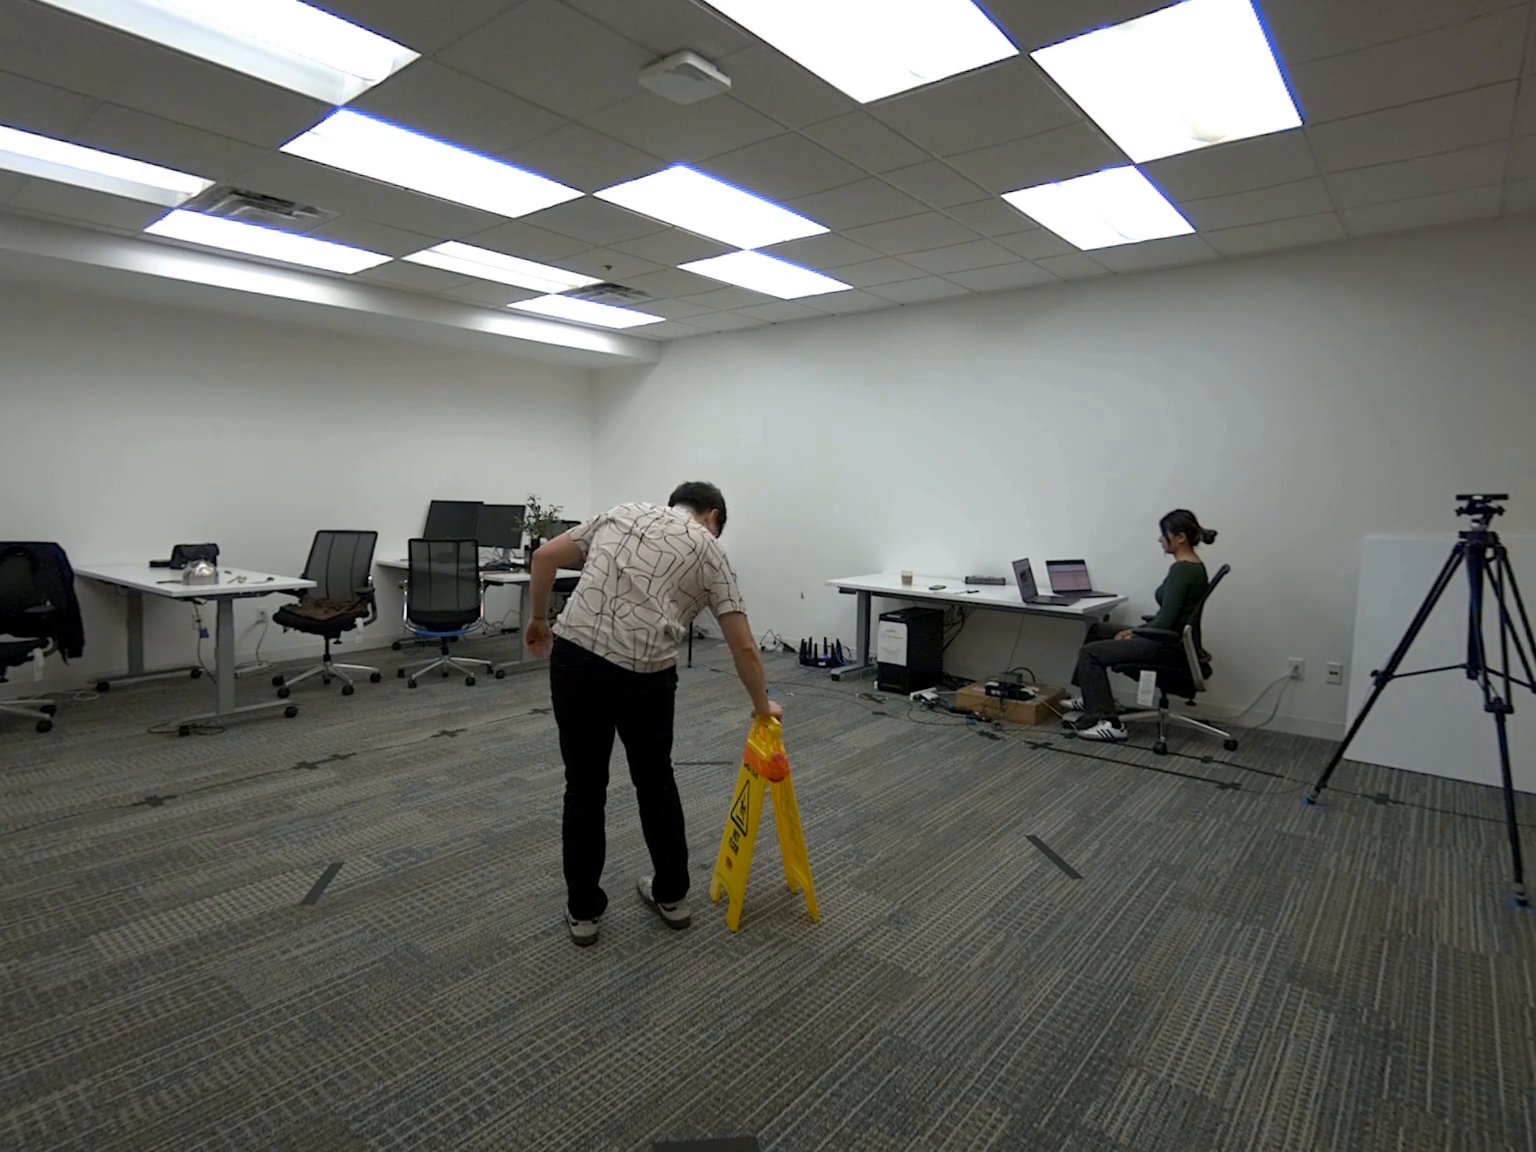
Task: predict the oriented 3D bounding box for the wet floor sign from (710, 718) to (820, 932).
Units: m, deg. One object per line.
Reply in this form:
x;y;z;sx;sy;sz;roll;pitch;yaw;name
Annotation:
-0.016;0.771;2.809;0.285;0.644;0.288;1;4;-18;wet floor sign
